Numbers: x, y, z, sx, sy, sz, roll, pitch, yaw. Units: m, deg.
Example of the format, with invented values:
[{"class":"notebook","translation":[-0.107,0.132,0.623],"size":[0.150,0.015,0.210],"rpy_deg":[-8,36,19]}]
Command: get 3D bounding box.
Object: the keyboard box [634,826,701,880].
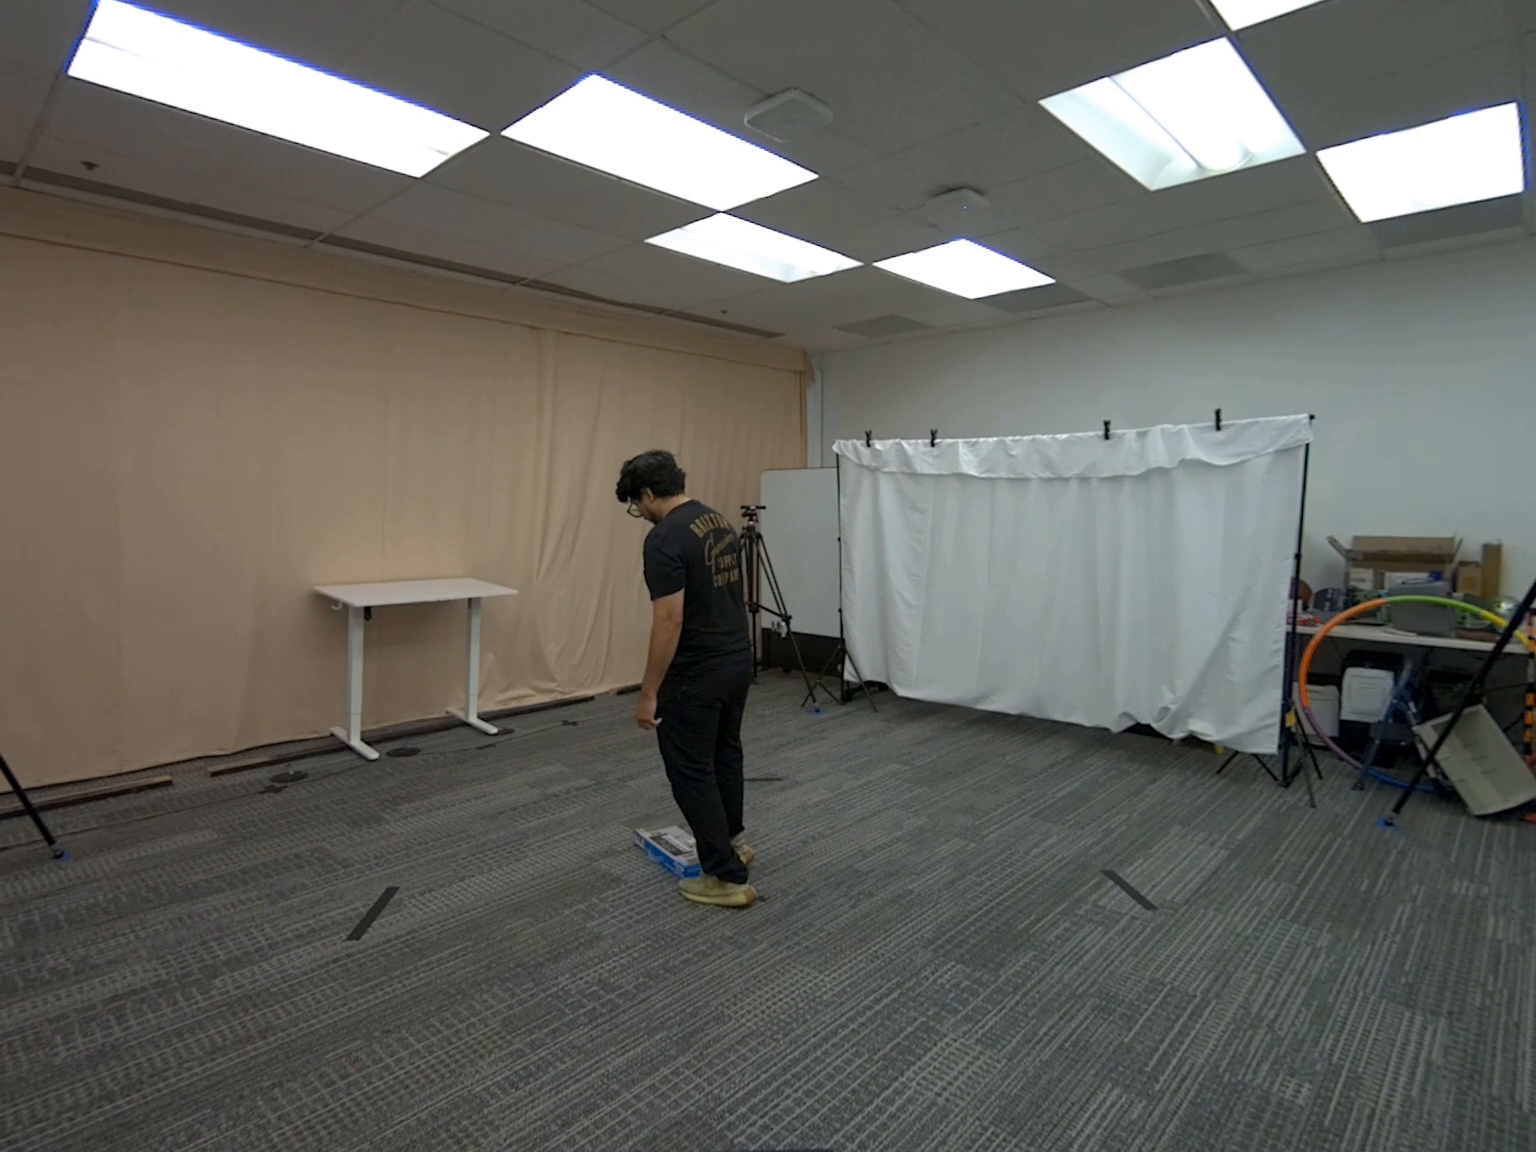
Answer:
[{"class":"keyboard box","translation":[-0.358,1.084,3.336],"size":[0.171,0.059,0.450],"rpy_deg":[-3,5,-33]}]
